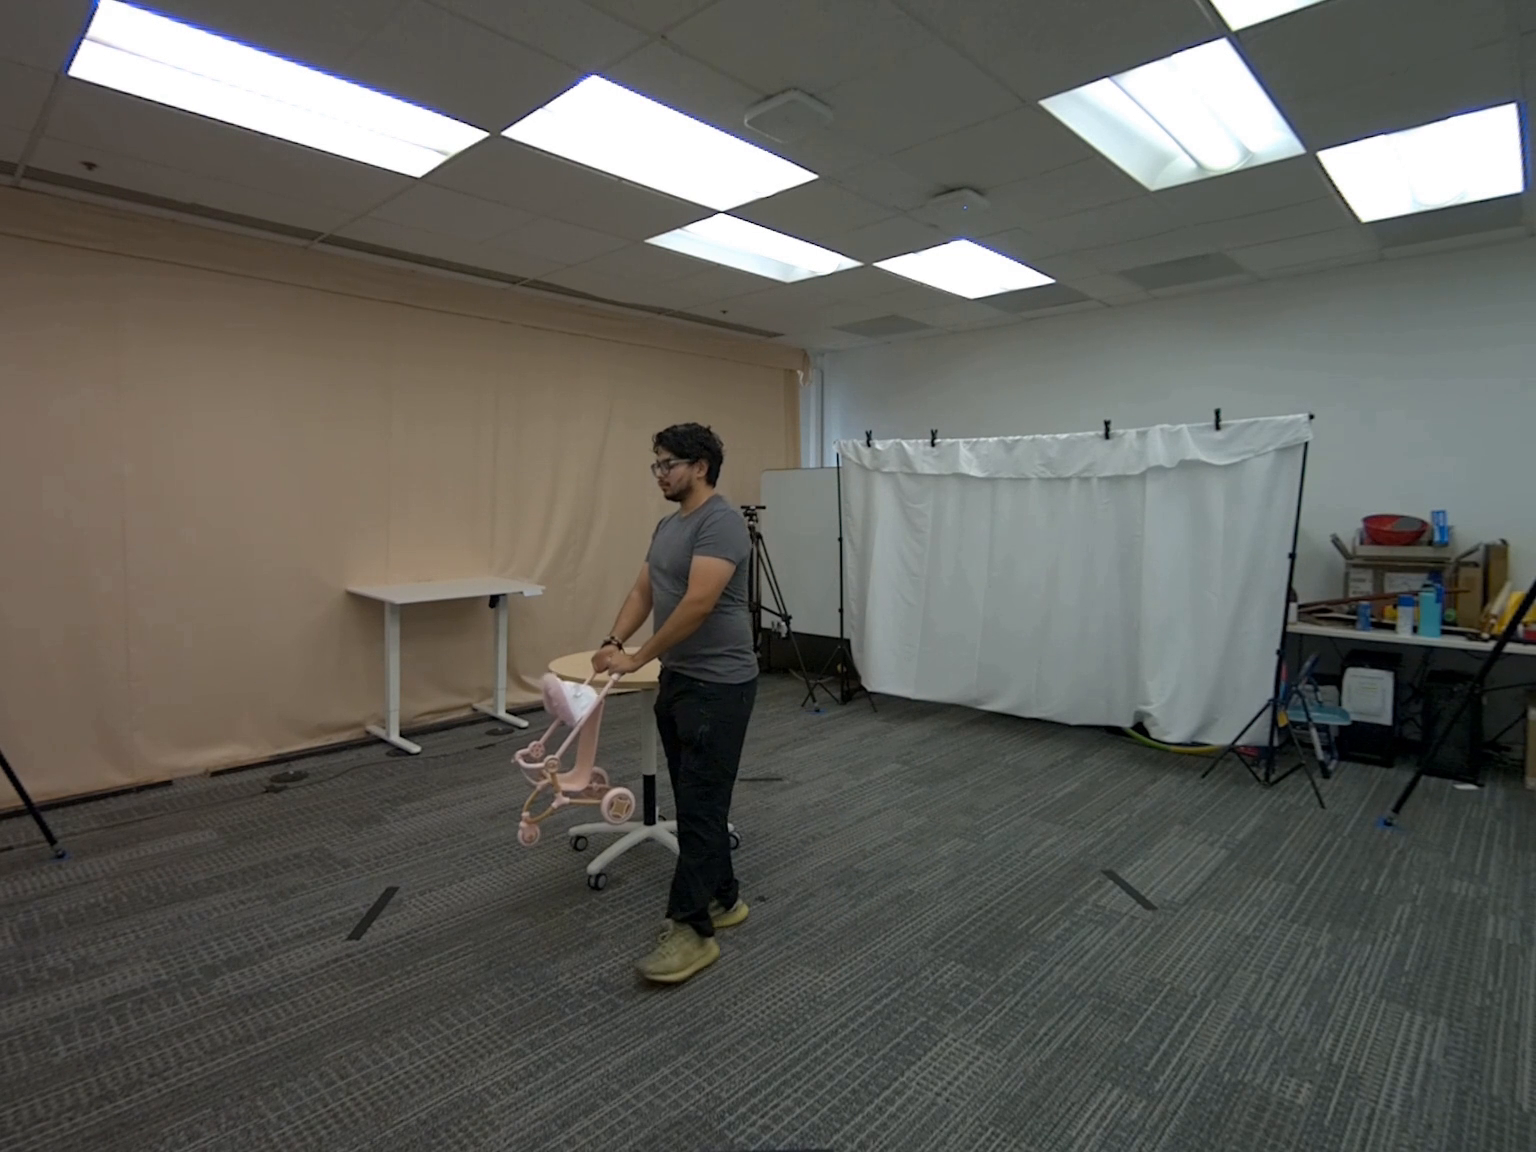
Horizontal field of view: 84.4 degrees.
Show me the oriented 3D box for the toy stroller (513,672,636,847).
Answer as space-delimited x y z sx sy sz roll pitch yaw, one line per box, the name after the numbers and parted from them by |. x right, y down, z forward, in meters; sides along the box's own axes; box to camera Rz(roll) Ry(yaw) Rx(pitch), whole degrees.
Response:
-0.606 0.530 2.544 0.334 0.535 0.288 -2 1 -23 | toy stroller
